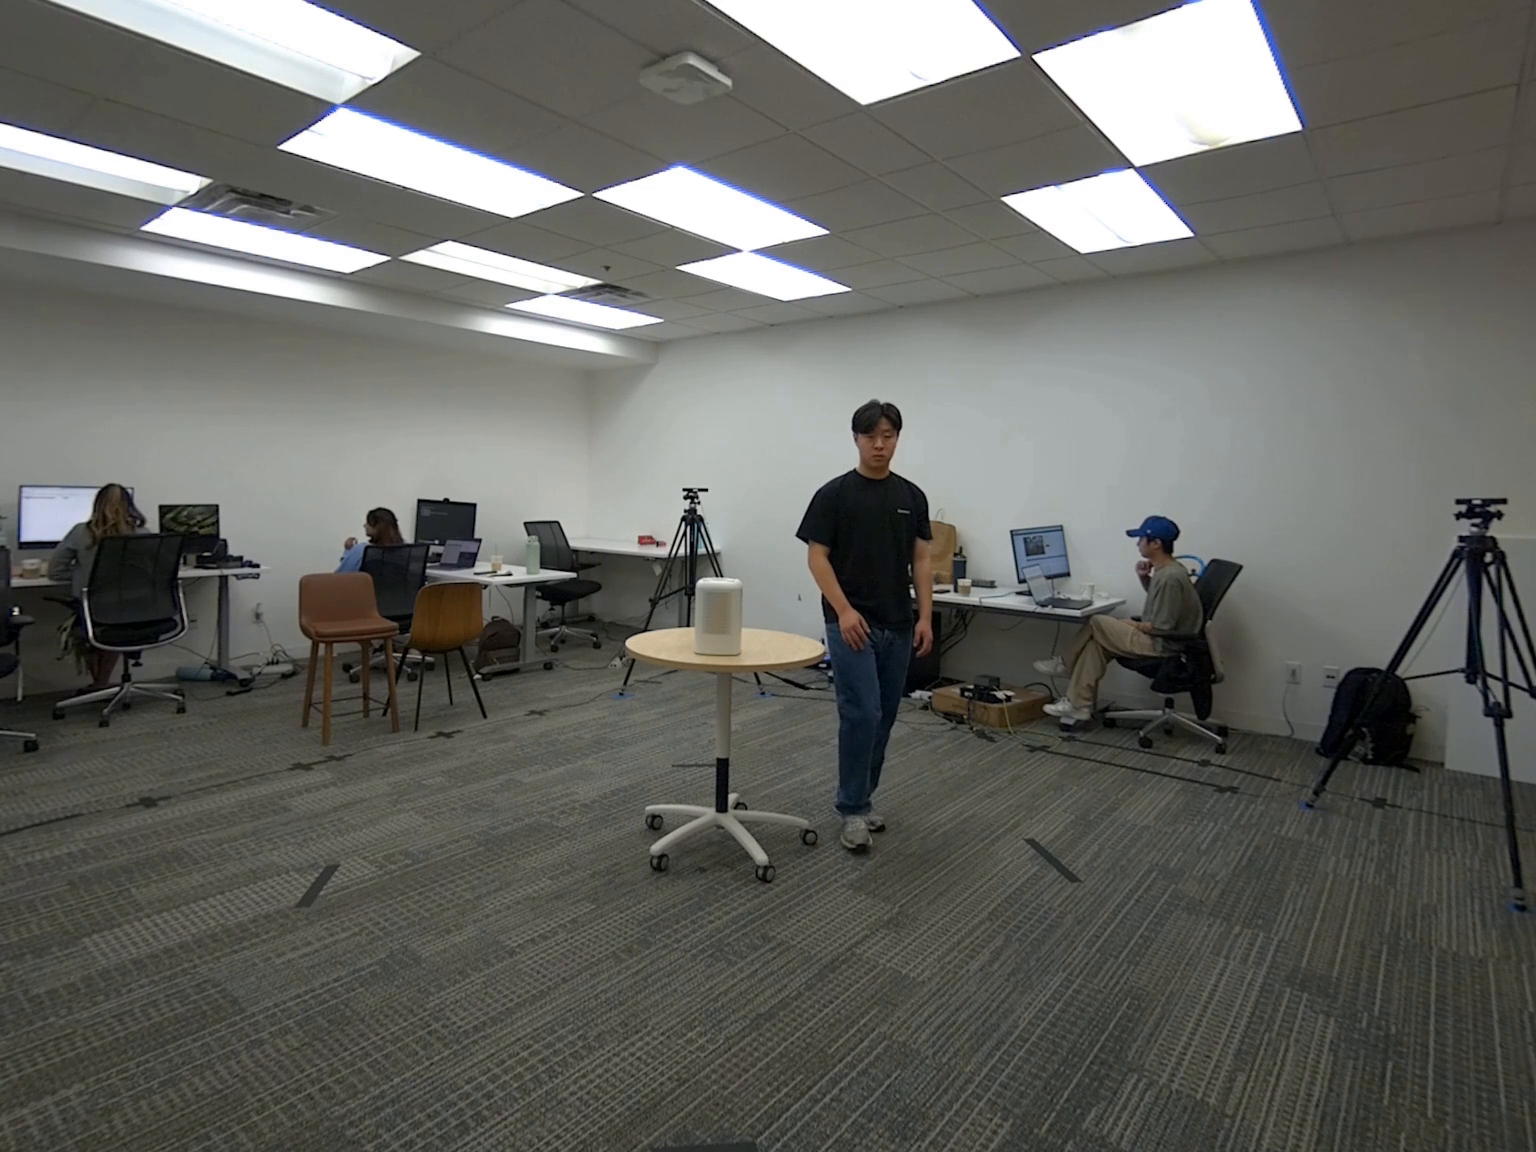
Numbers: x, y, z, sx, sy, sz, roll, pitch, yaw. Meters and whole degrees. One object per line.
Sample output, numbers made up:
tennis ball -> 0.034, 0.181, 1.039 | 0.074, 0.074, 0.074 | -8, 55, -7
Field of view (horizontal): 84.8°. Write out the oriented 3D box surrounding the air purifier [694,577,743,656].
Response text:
air purifier -> -0.195, 0.143, 3.122 | 0.172, 0.264, 0.171 | -1, 4, 1
